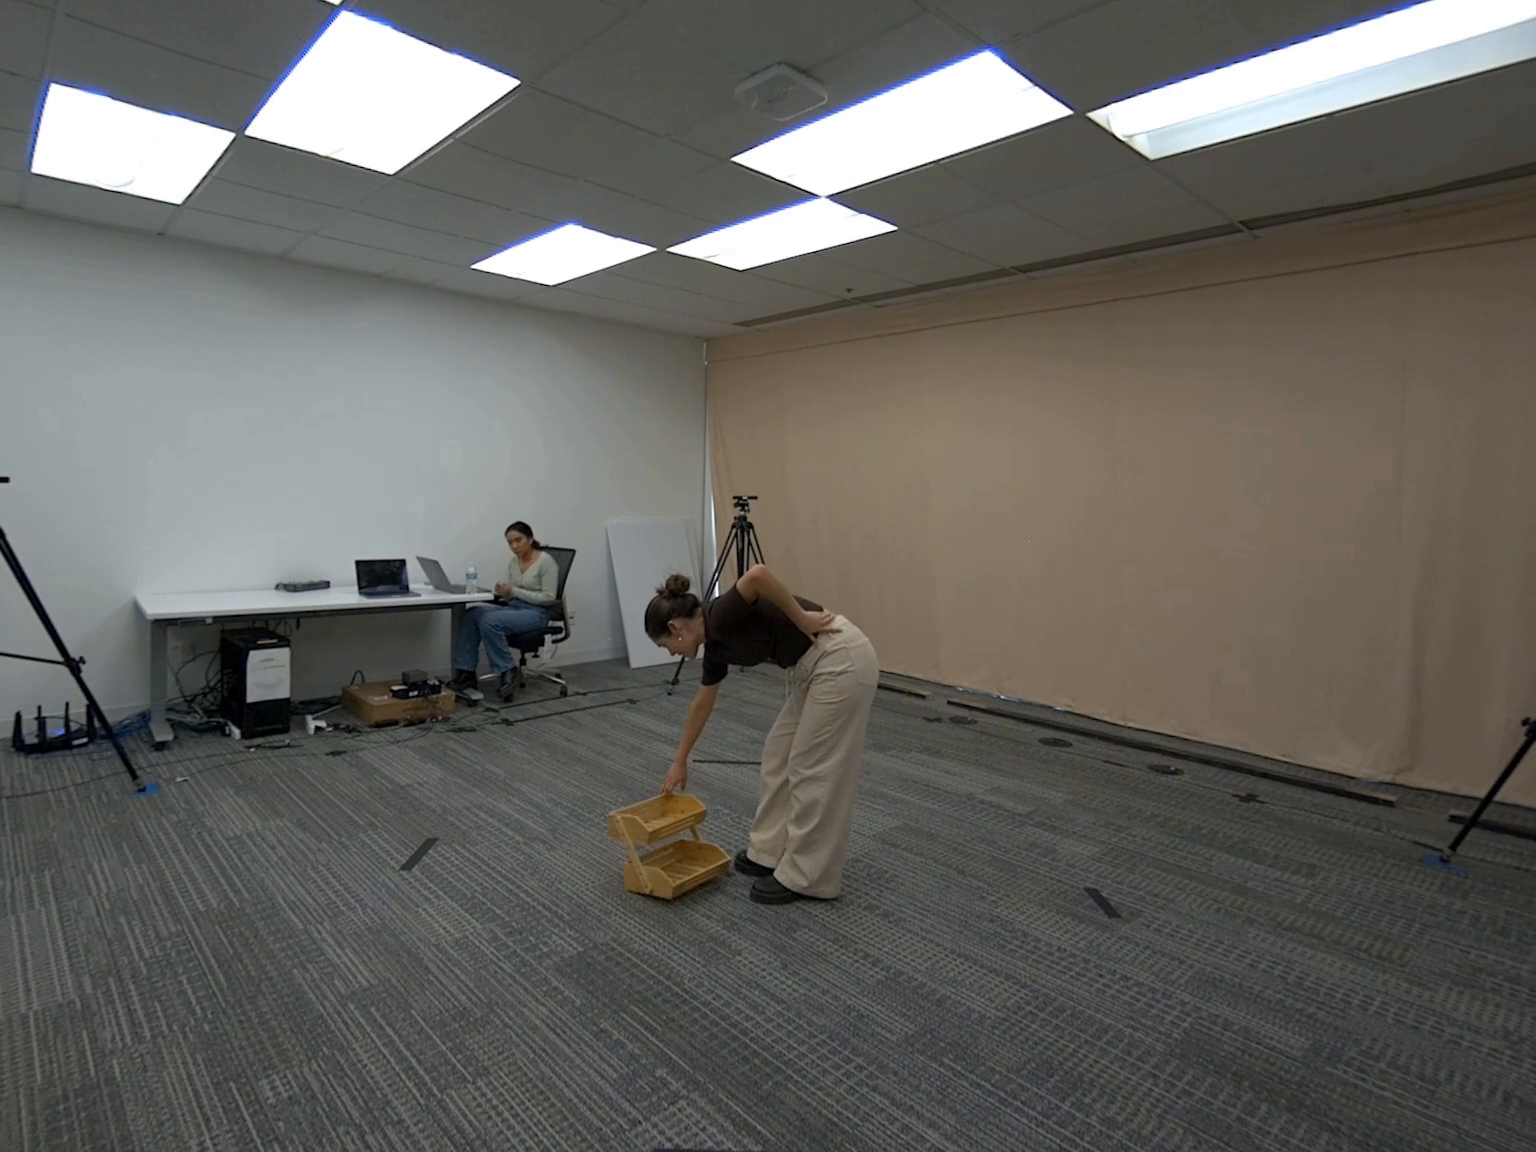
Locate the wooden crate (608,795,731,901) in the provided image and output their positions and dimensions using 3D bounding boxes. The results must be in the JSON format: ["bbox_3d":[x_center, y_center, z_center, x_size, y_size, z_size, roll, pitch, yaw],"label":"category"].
[{"bbox_3d":[-0.357,0.951,3.026,0.308,0.274,0.317,-9,-4,39],"label":"wooden crate"}]
